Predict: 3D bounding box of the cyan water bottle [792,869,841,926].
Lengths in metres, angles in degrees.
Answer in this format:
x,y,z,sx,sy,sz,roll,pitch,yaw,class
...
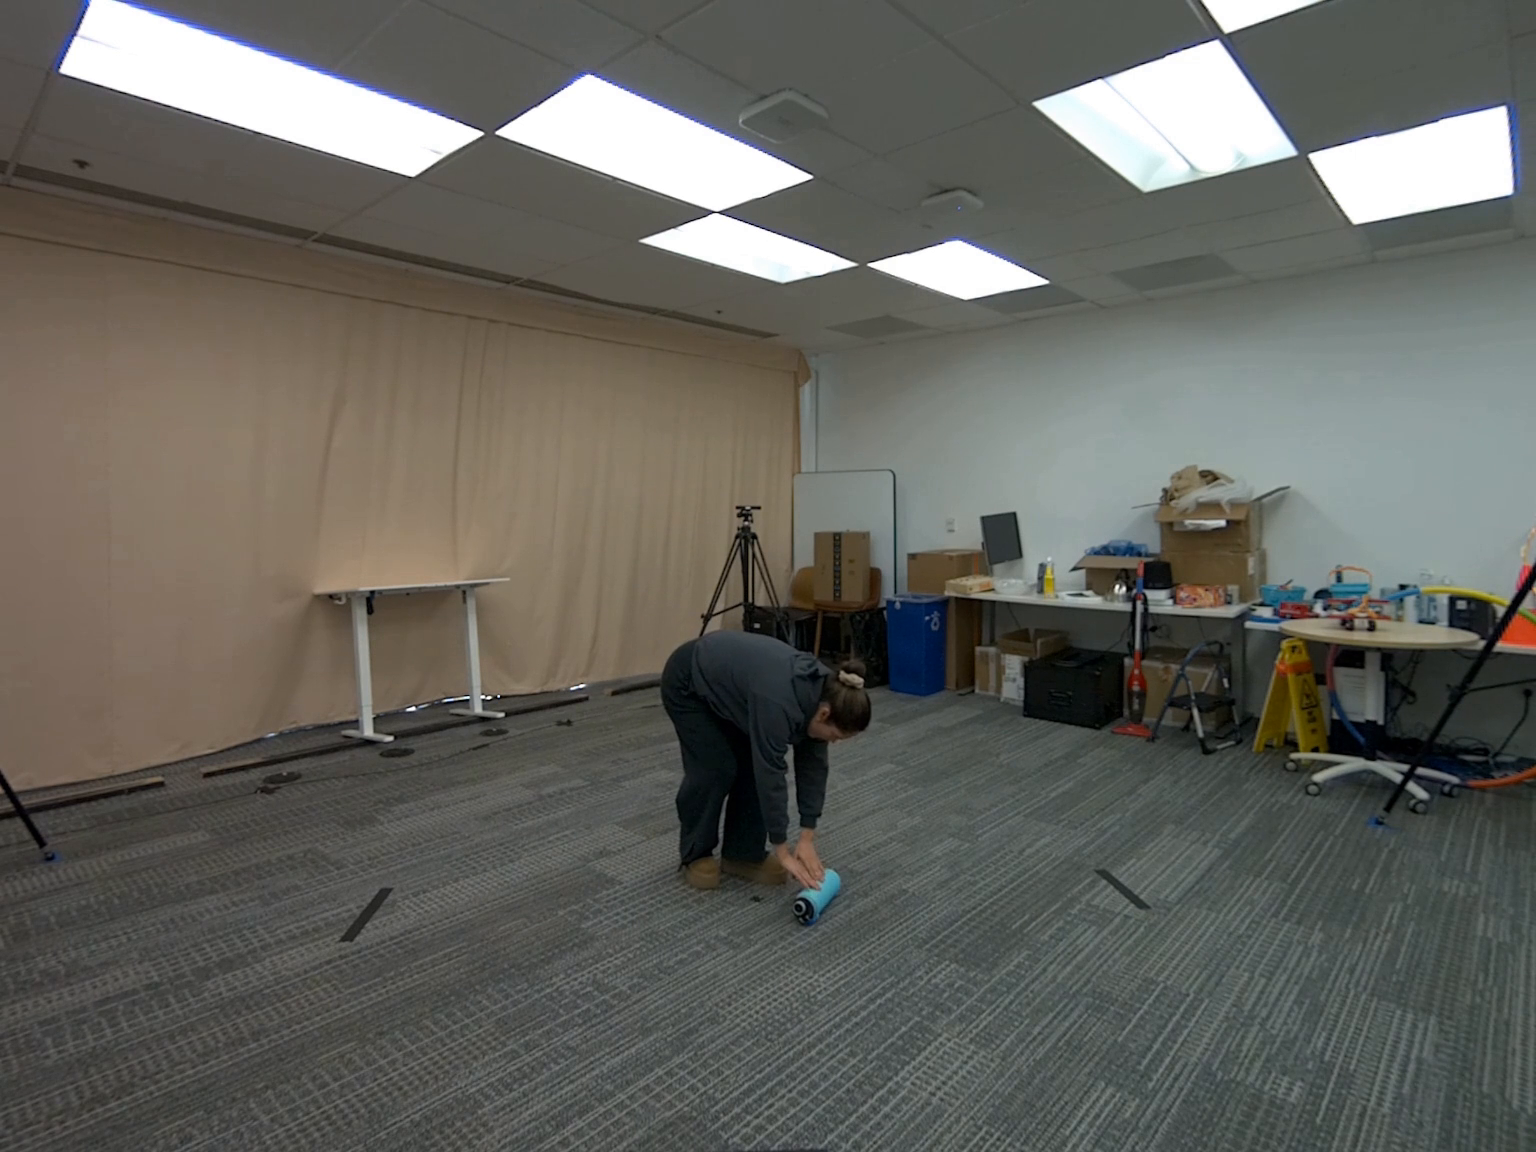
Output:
x,y,z,sx,sy,sz,roll,pitch,yaw,class
0.189,1.099,2.895,0.094,0.092,0.277,1,5,24,cyan water bottle
